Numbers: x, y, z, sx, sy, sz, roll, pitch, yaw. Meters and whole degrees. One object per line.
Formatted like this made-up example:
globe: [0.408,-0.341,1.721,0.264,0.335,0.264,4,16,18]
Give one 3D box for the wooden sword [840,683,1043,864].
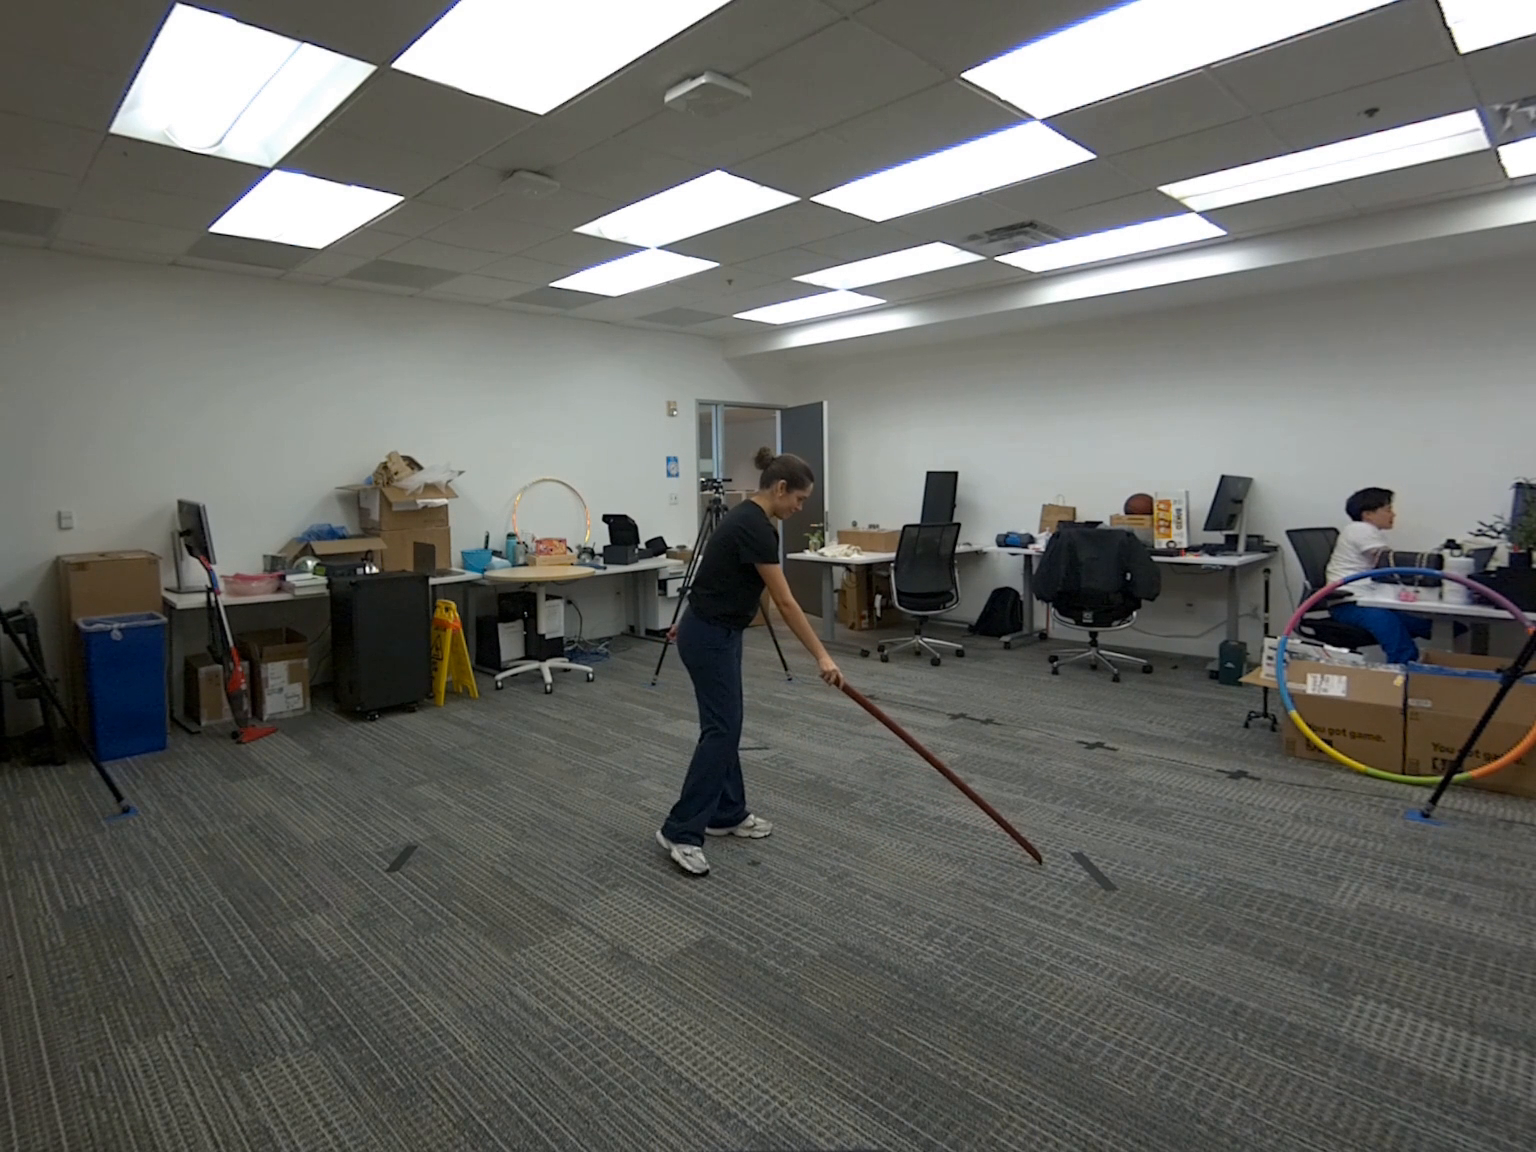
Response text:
wooden sword: [0.588,0.665,3.136,0.024,1.034,0.051,-42,-9,-45]
